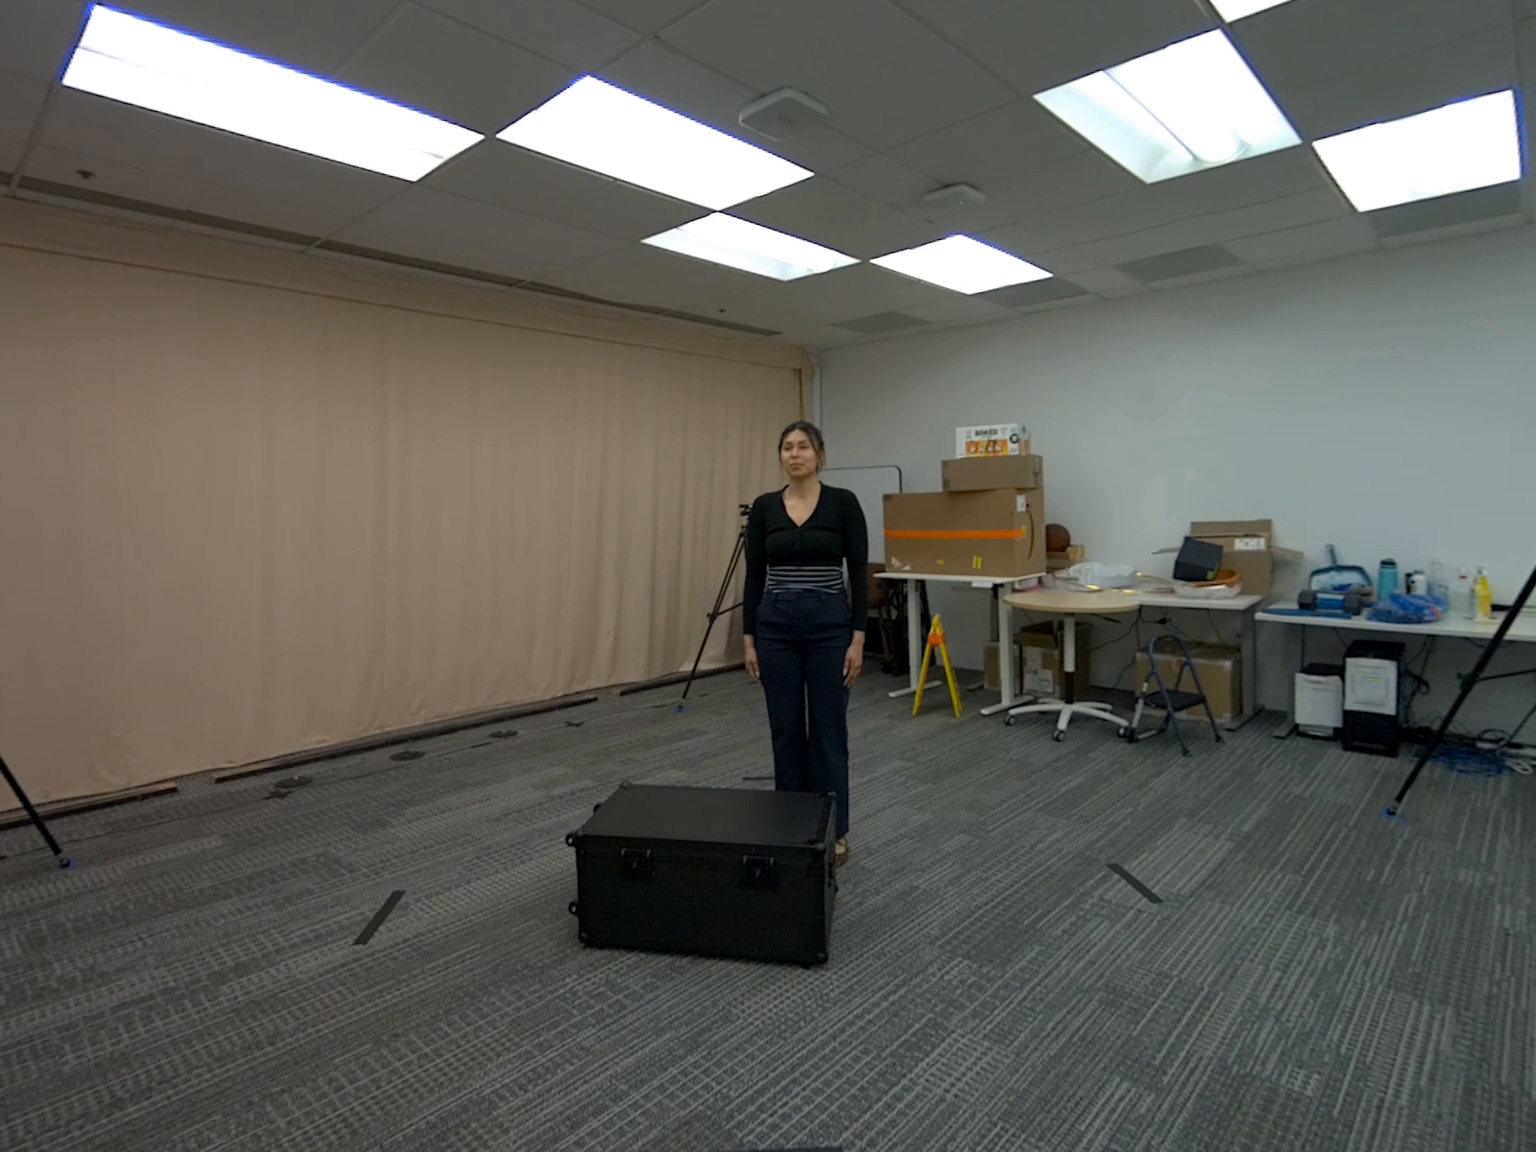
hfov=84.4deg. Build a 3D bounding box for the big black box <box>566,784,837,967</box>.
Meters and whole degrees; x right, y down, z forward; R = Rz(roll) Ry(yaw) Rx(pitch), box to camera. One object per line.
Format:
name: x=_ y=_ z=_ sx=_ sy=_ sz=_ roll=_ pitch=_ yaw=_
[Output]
big black box: x=-0.217 y=0.965 z=2.812 sx=0.873 sy=0.395 sz=0.516 roll=1 pitch=4 yaw=11
